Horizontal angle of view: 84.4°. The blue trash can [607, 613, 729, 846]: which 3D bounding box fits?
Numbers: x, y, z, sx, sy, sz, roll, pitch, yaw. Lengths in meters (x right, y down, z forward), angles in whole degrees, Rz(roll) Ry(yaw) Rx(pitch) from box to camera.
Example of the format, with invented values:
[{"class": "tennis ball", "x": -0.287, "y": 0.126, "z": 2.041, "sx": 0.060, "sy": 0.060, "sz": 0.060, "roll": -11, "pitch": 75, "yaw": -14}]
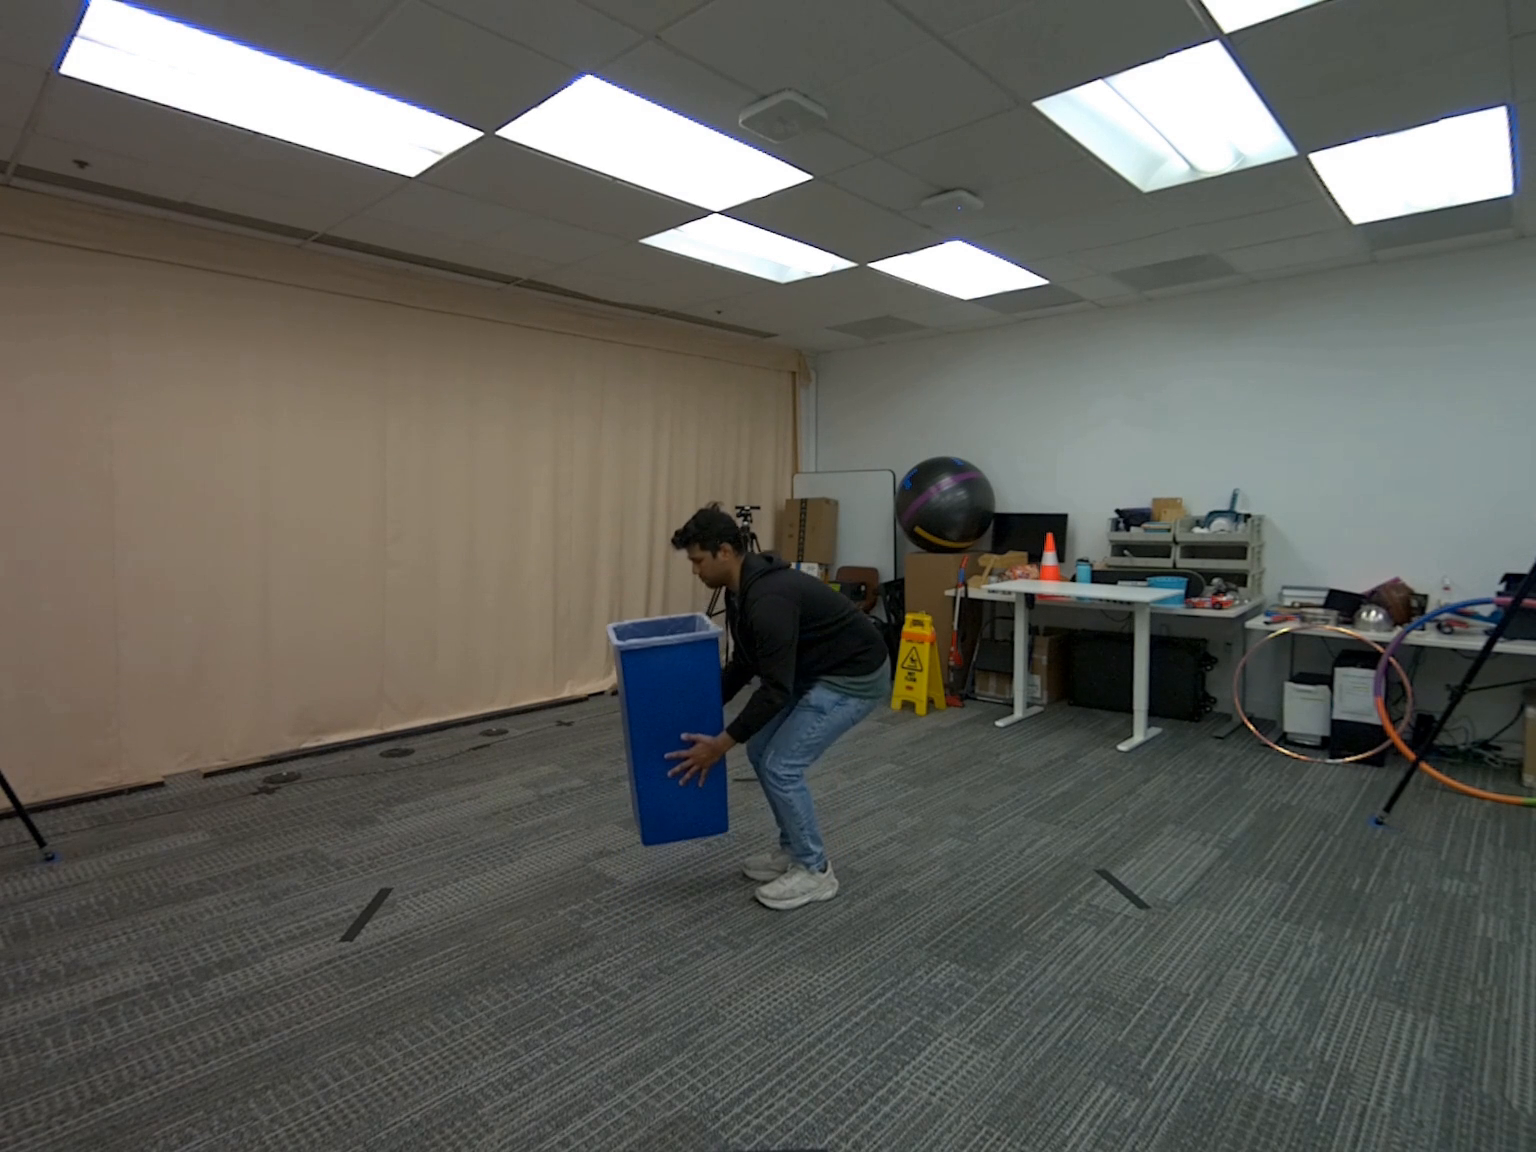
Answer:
[{"class": "blue trash can", "x": -0.343, "y": 0.526, "z": 2.965, "sx": 0.369, "sy": 0.710, "sz": 0.385, "roll": -6, "pitch": 7, "yaw": -15}]
